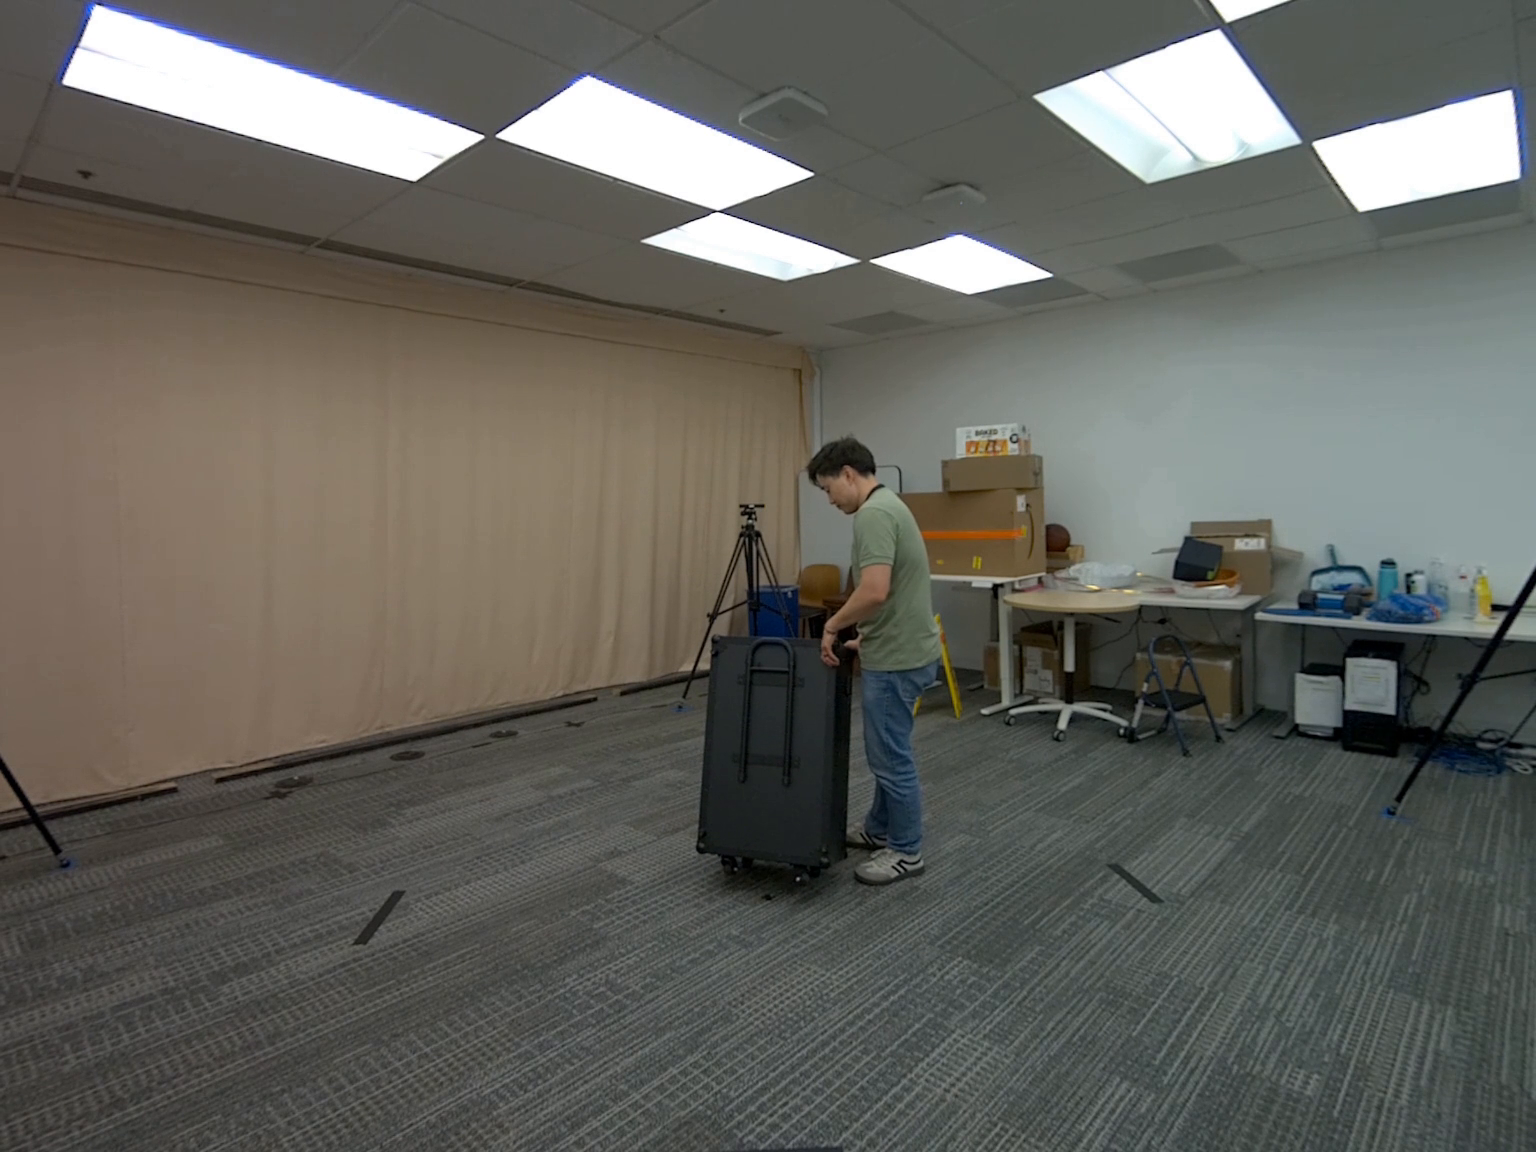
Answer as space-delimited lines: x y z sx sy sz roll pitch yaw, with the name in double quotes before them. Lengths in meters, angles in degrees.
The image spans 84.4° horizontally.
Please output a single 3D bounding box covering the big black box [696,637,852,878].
"big black box" 0.045 0.682 3.166 0.531 0.867 0.386 0 -13 18
